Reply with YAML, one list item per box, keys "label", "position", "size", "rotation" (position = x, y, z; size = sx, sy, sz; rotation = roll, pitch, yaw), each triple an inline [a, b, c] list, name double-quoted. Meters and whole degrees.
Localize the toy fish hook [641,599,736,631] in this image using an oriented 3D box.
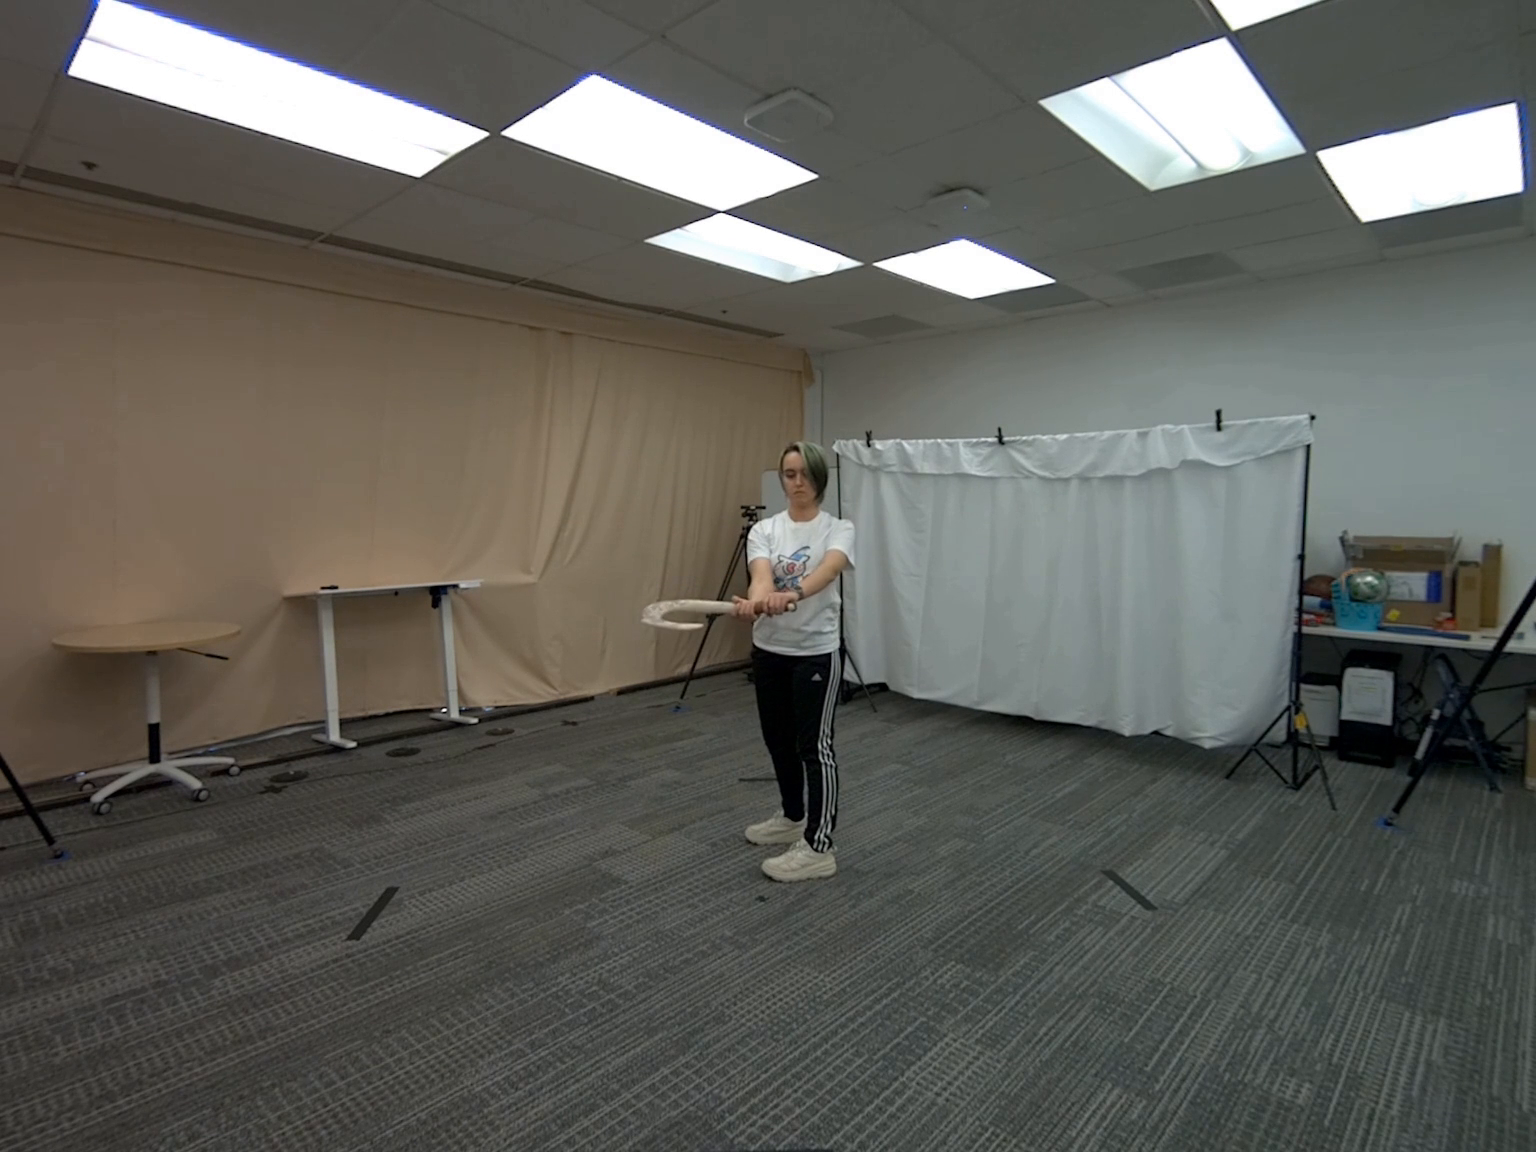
- label: "toy fish hook"
  position: [-0.154, 0.124, 2.700]
  size: [0.508, 0.047, 0.227]
  rotation: [-3, 22, 2]
